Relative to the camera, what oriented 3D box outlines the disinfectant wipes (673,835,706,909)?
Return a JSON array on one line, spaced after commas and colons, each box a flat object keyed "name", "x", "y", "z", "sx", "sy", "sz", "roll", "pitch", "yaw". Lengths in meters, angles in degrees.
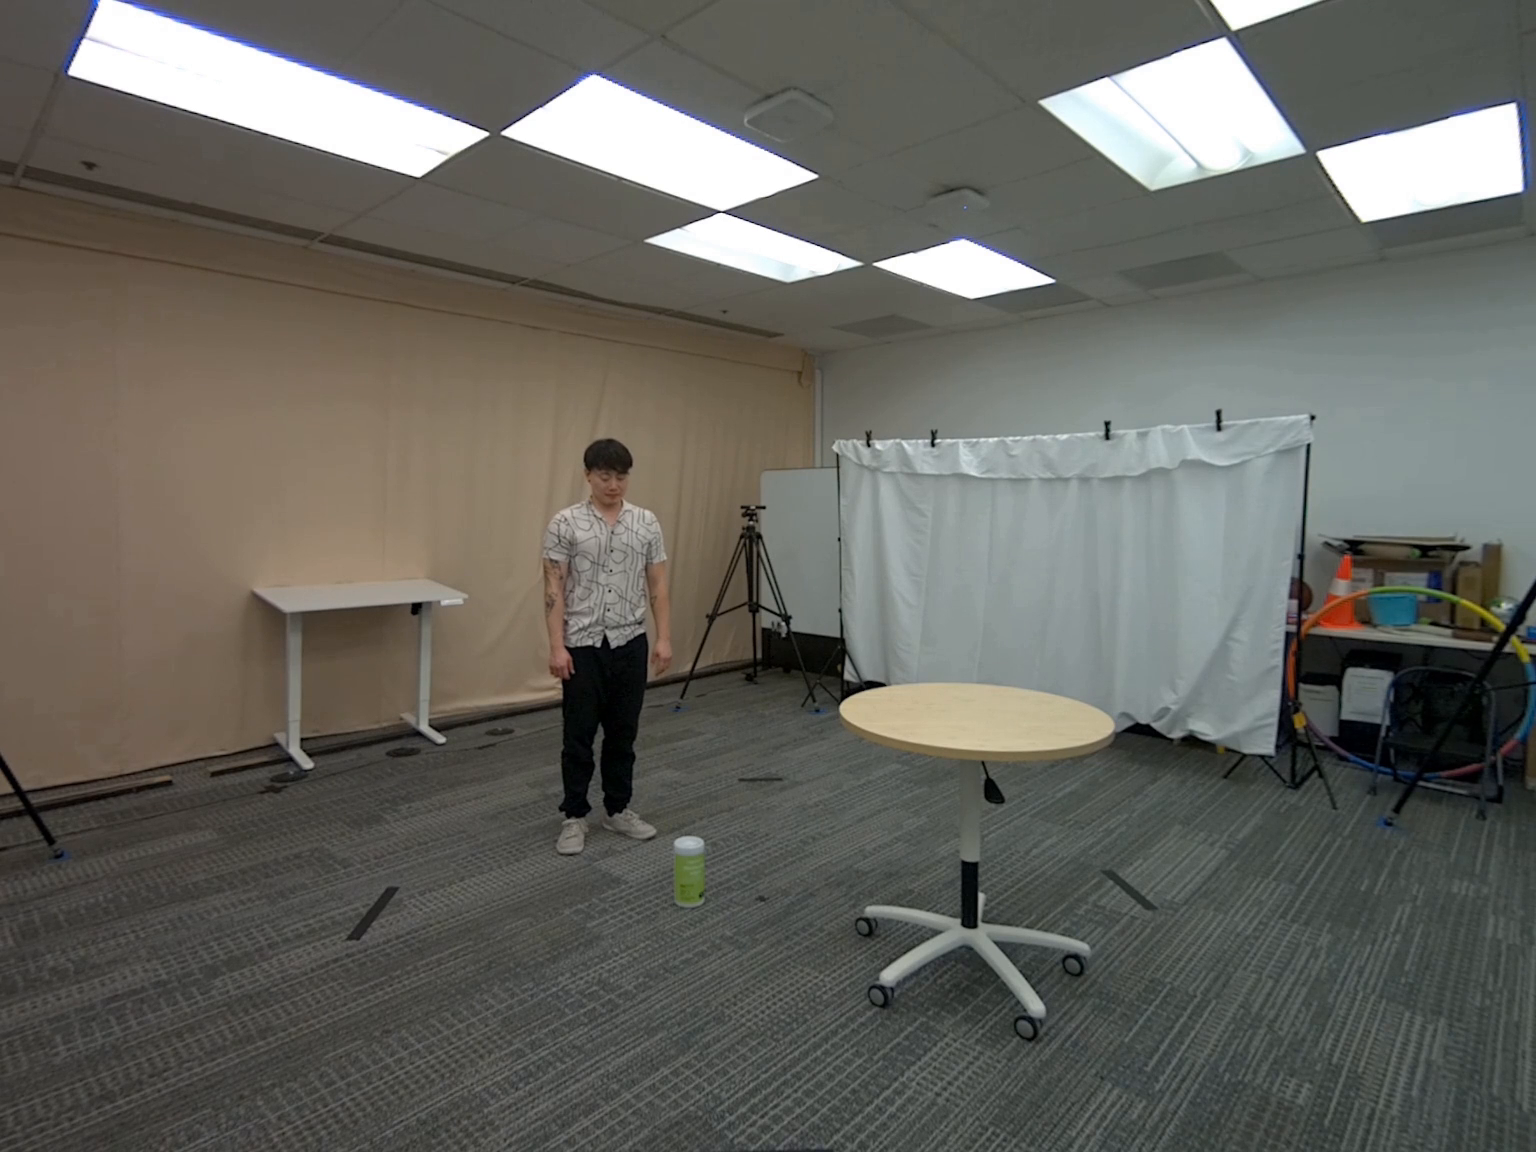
[{"name": "disinfectant wipes", "x": -0.282, "y": 1.041, "z": 2.958, "sx": 0.118, "sy": 0.217, "sz": 0.118, "roll": 1, "pitch": 3, "yaw": -2}]
